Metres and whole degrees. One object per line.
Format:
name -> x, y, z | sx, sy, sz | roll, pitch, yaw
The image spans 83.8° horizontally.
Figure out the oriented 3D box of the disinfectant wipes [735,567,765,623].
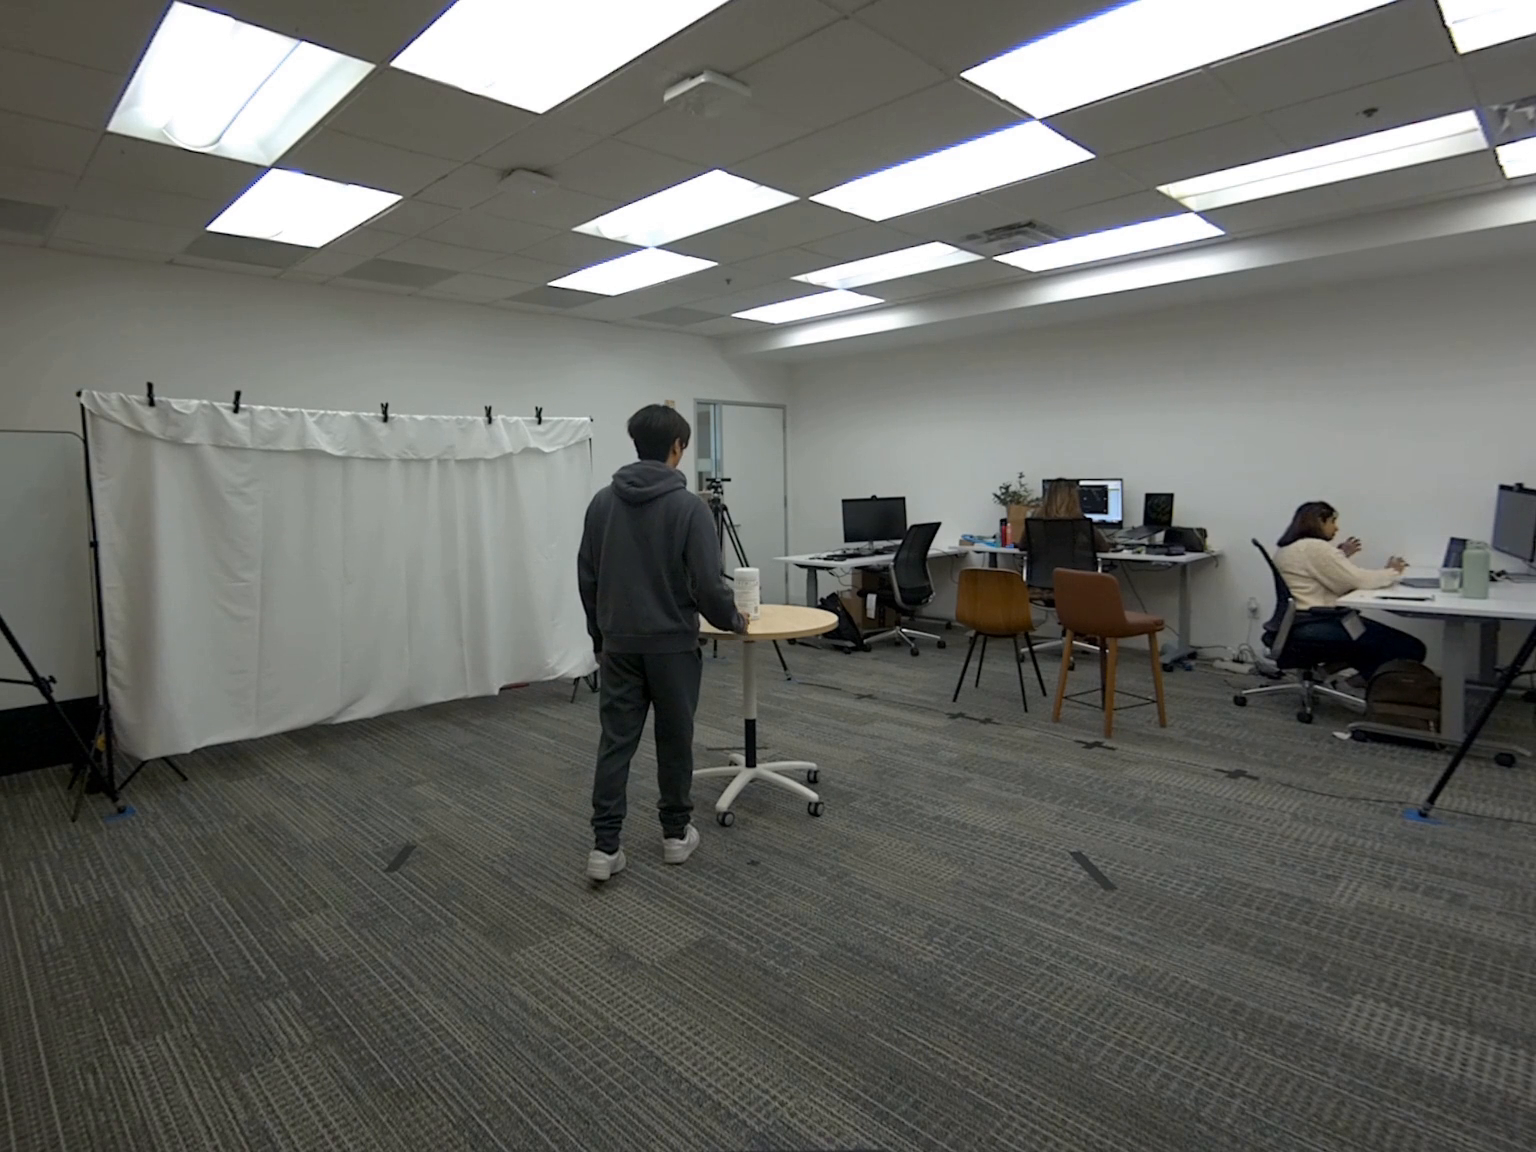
disinfectant wipes -> -0.080, 0.077, 3.658 | 0.118, 0.216, 0.118 | 0, 5, -2
